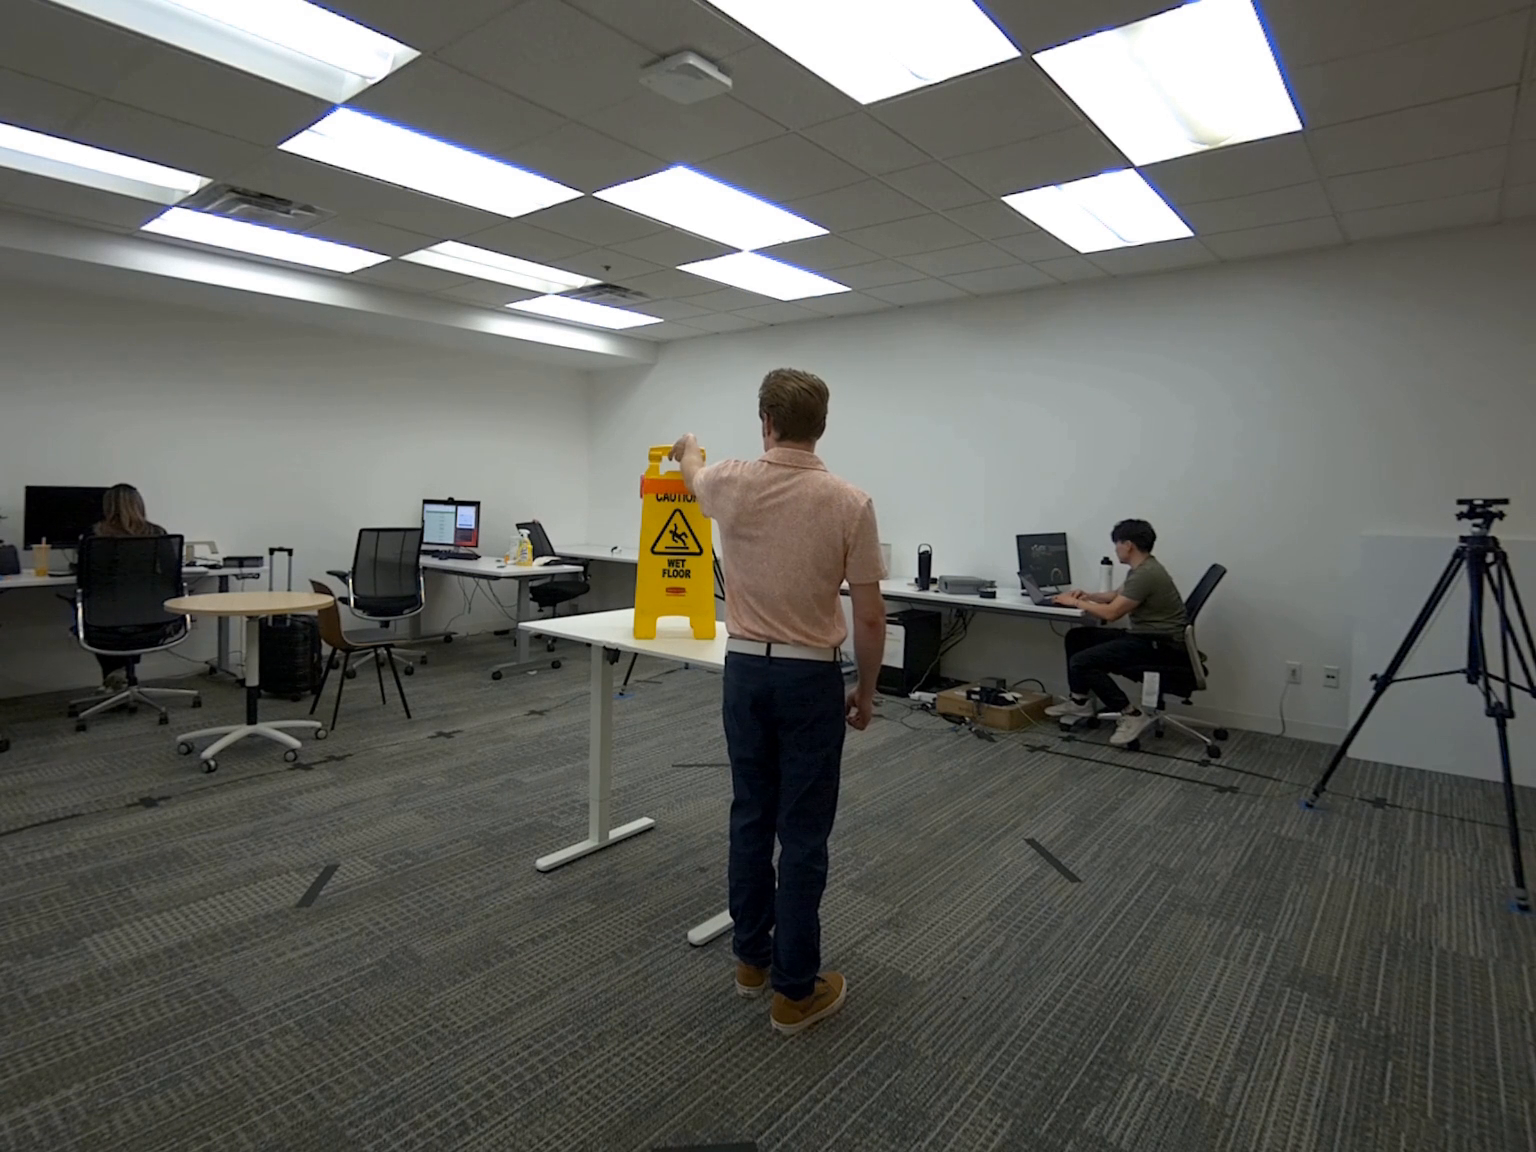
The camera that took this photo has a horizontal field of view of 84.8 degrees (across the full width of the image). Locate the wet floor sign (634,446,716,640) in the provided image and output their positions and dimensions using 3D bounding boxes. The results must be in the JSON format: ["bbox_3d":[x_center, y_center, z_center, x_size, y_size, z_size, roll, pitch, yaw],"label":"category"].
[{"bbox_3d":[-0.335,-0.118,2.958,0.281,0.644,0.292,-1,3,-5],"label":"wet floor sign"}]
